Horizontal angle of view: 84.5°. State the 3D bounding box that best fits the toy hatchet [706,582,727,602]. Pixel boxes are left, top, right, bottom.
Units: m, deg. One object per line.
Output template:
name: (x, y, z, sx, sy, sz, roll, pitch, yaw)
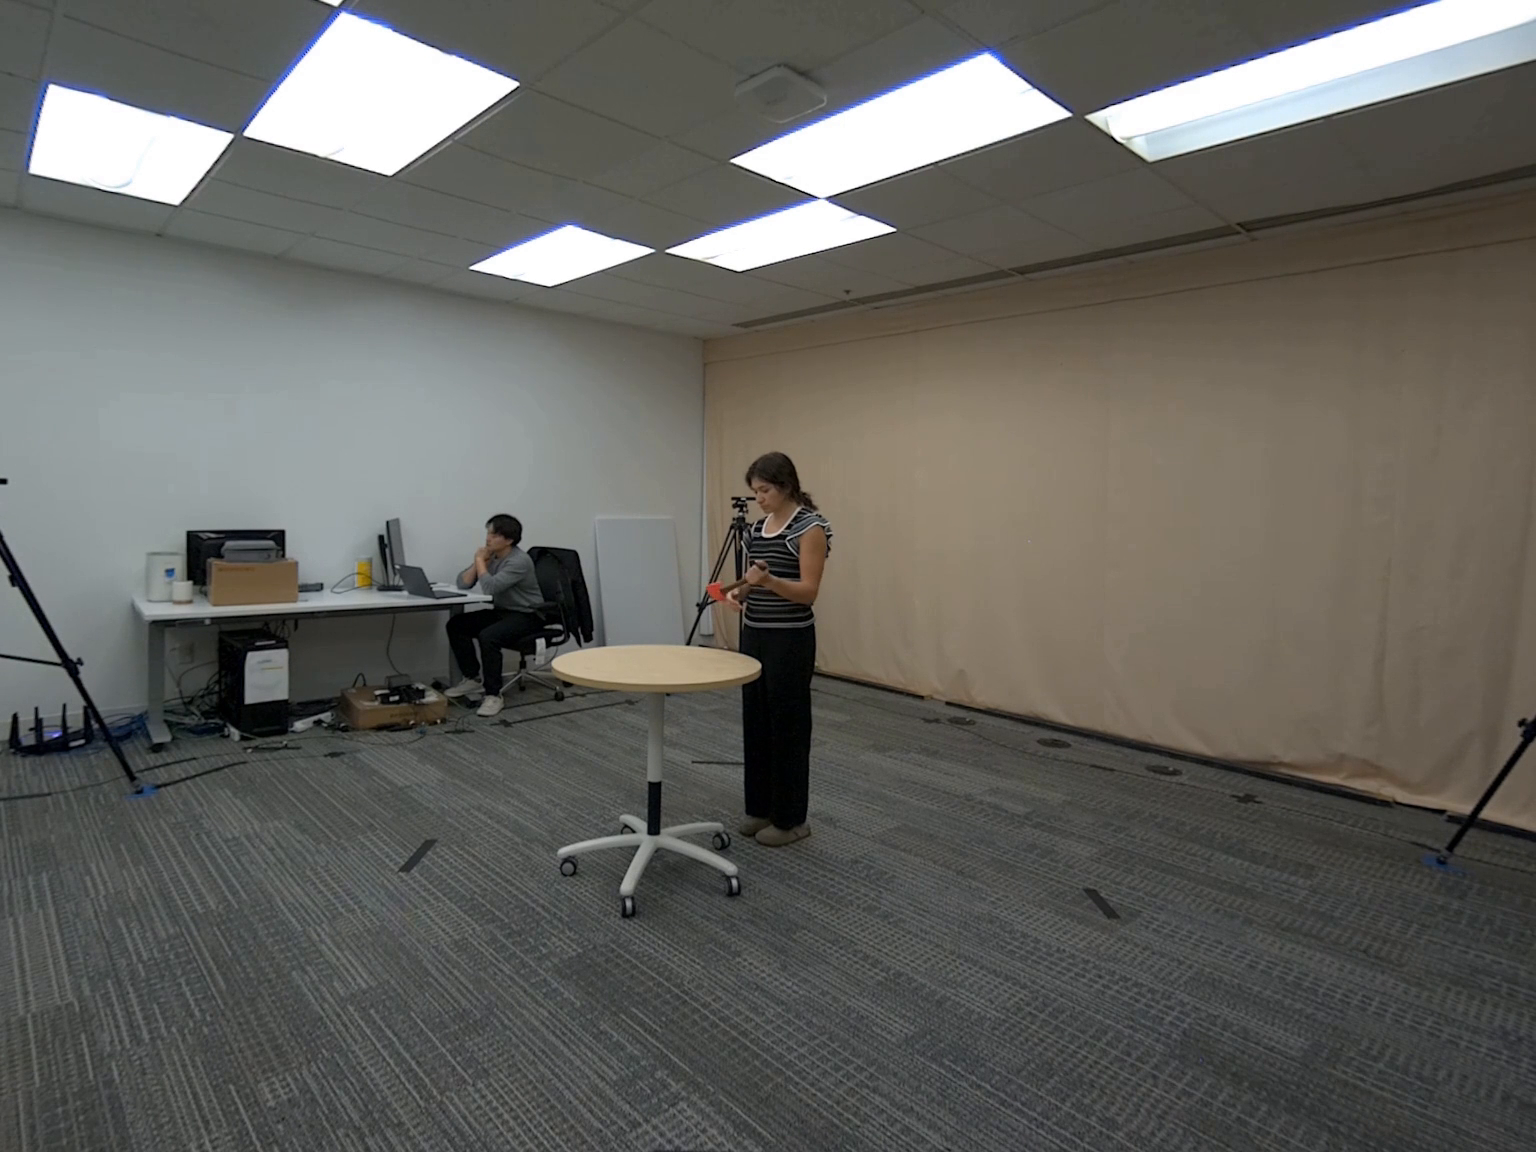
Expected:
toy hatchet: (-0.121, 0.021, 3.177, 0.127, 0.030, 0.271, 21, -43, -33)
